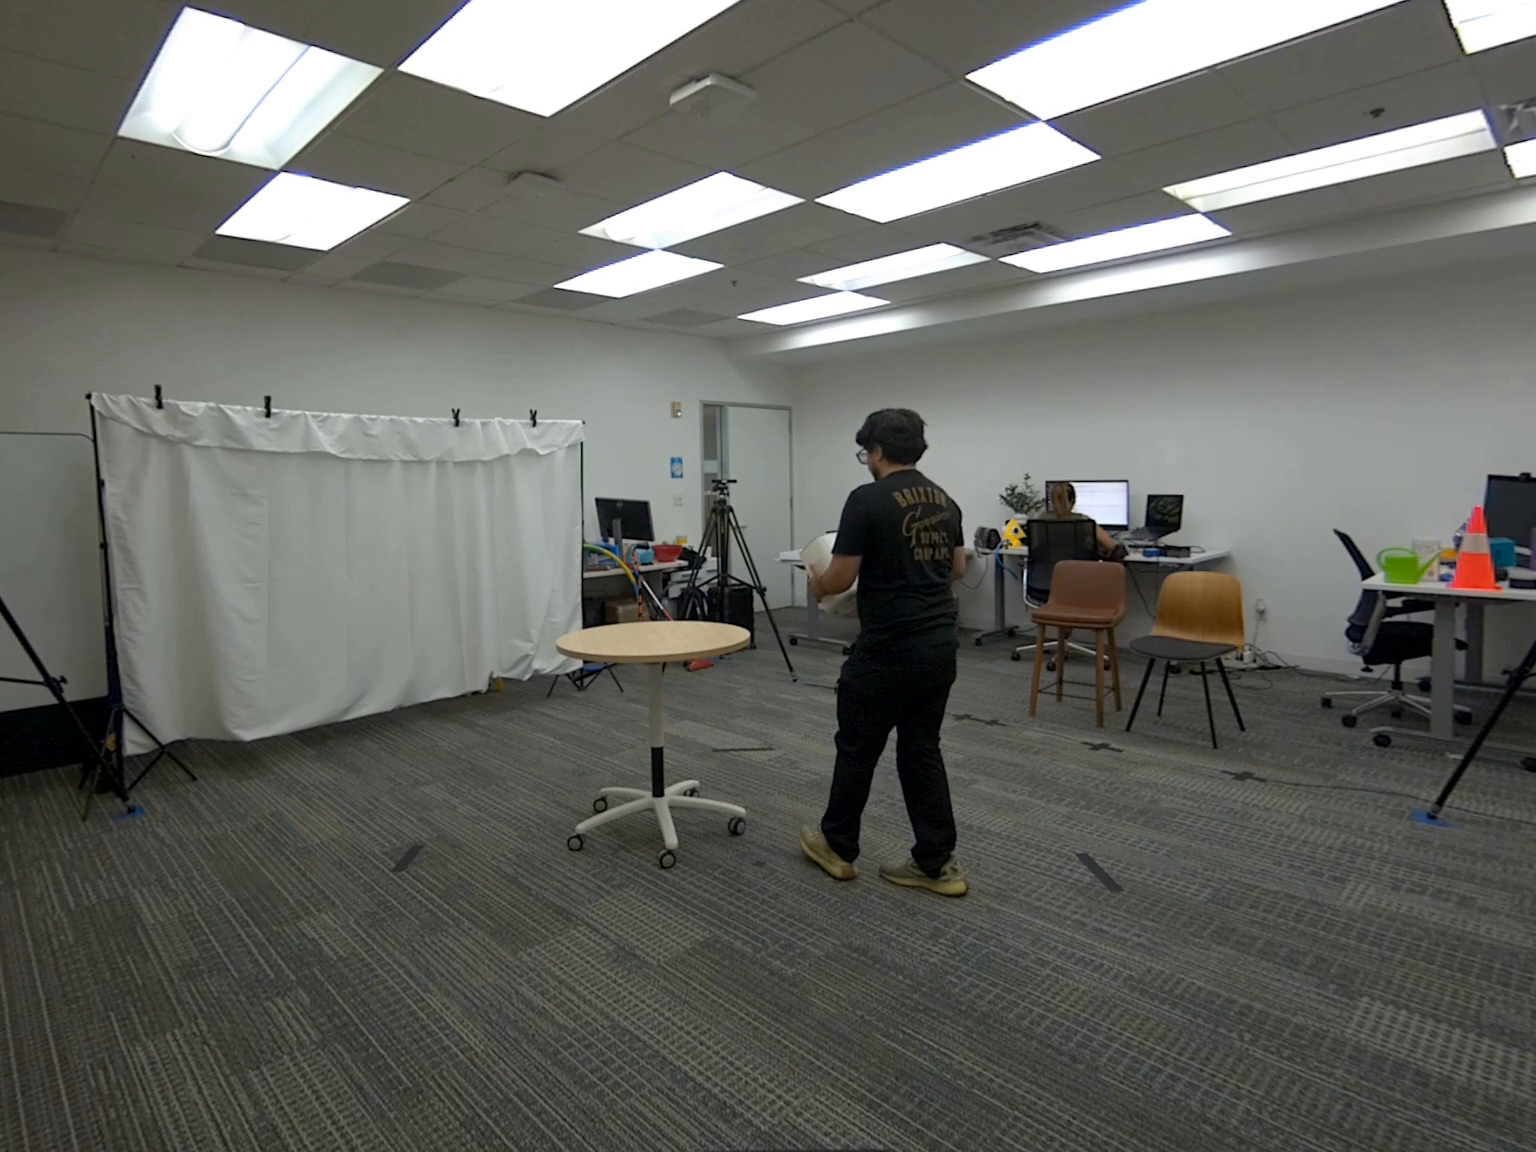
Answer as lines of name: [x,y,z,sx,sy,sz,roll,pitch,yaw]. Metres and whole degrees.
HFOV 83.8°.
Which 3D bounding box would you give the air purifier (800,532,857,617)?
air purifier: [0.264,-0.009,3.186,0.164,0.269,0.173,-9,-26,-34]
